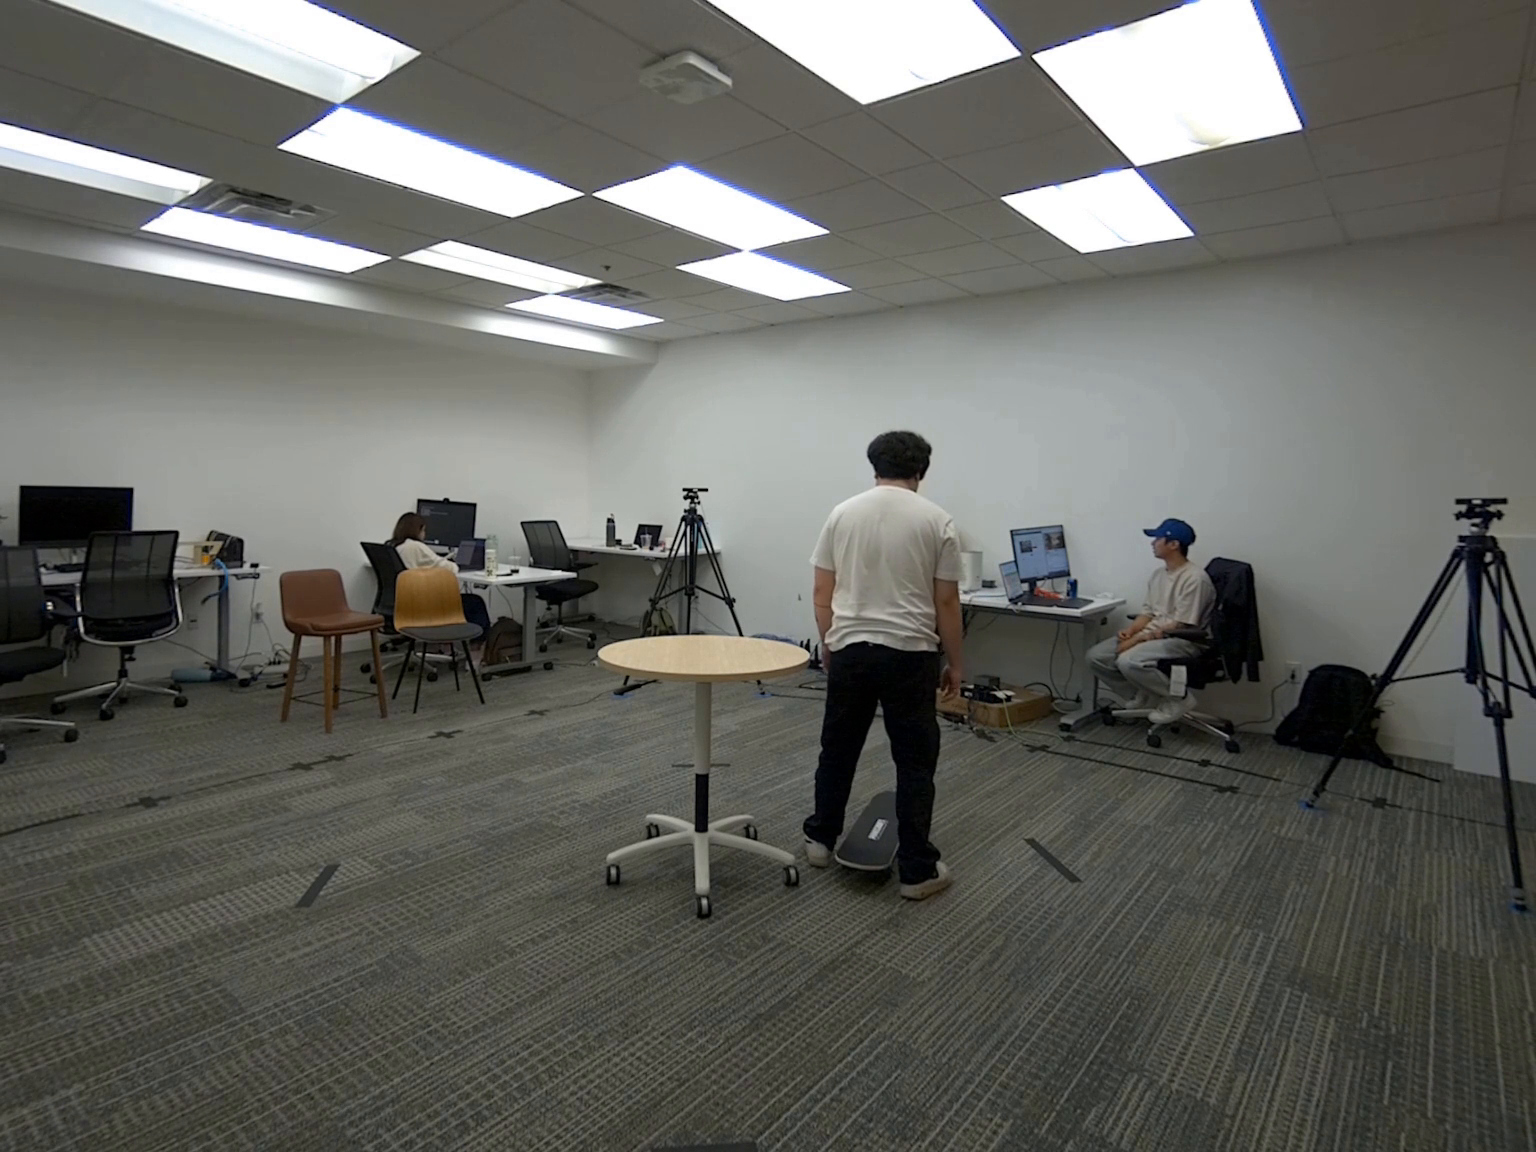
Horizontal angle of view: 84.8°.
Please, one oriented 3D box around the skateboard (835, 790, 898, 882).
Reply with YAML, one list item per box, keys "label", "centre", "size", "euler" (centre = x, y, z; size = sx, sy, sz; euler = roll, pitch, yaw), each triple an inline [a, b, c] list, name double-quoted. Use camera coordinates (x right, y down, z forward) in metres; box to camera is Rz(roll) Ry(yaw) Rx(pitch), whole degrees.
- label: "skateboard"
  centre: [0.419, 1.010, 3.294]
  size: [0.197, 0.110, 0.773]
  euler: [3, 7, 18]
